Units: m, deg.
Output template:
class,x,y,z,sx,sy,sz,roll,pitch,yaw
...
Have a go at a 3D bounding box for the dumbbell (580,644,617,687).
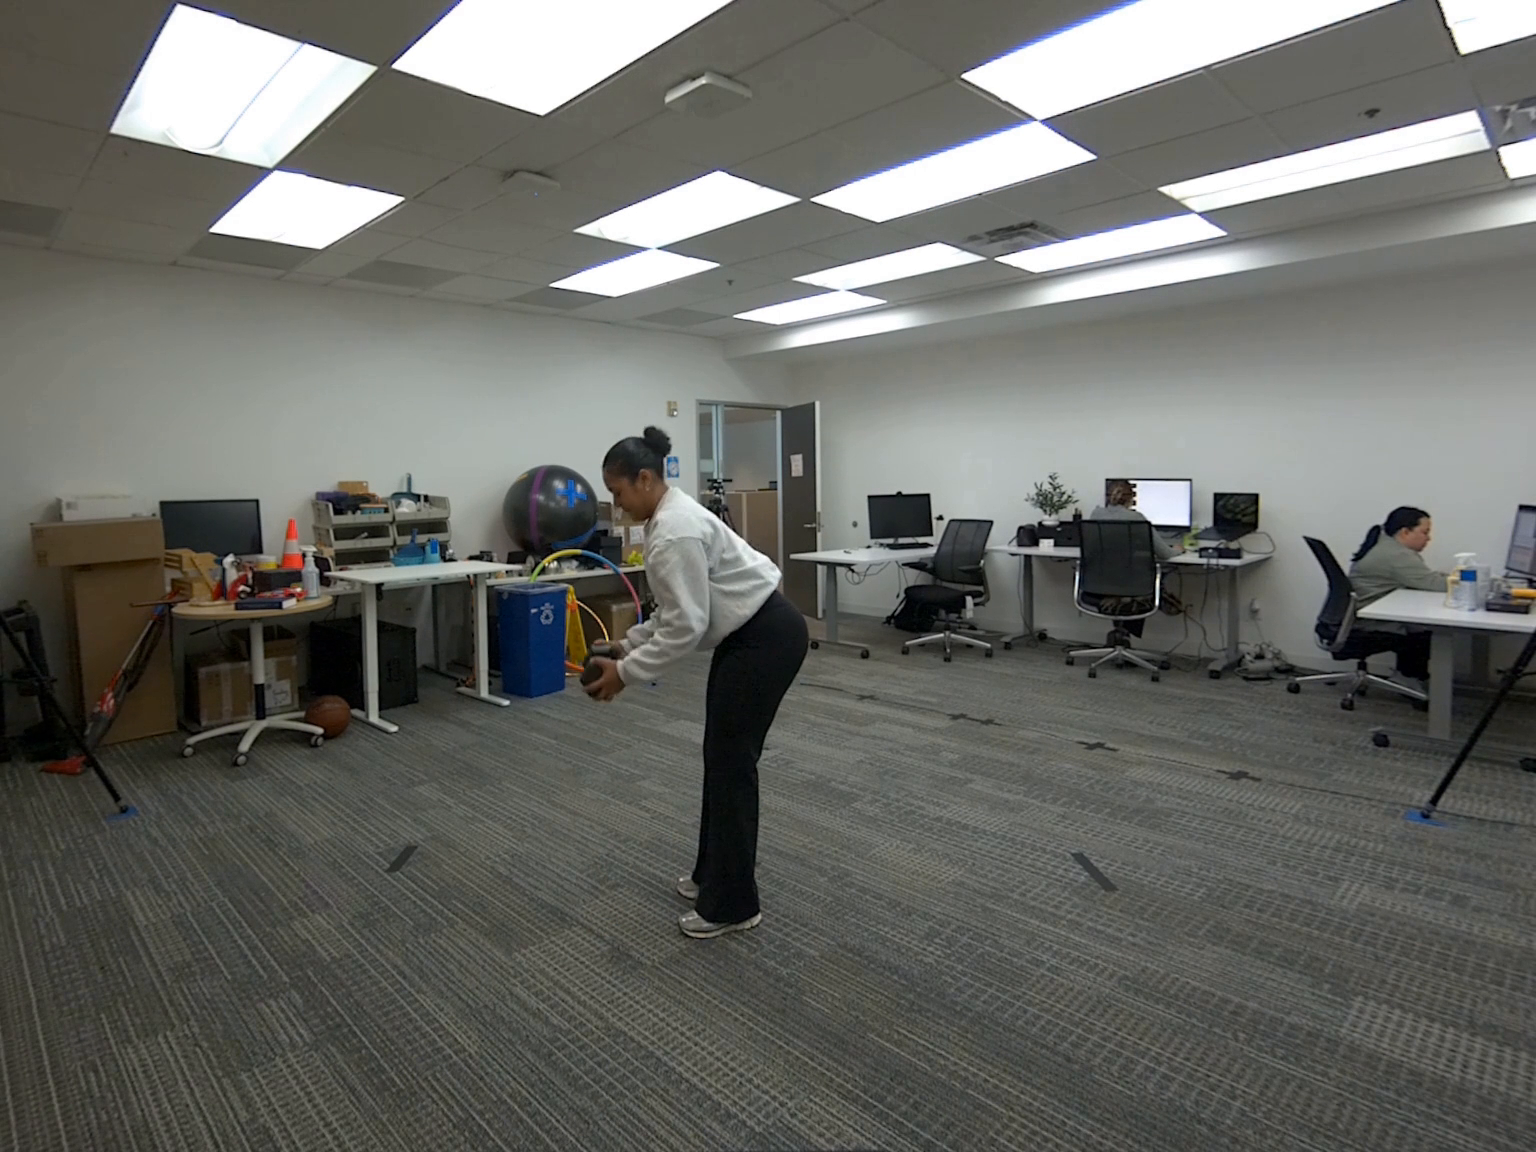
class,x,y,z,sx,sy,sz,roll,pitch,yaw
dumbbell,-0.525,0.289,2.706,0.108,0.121,0.297,-35,10,-3
